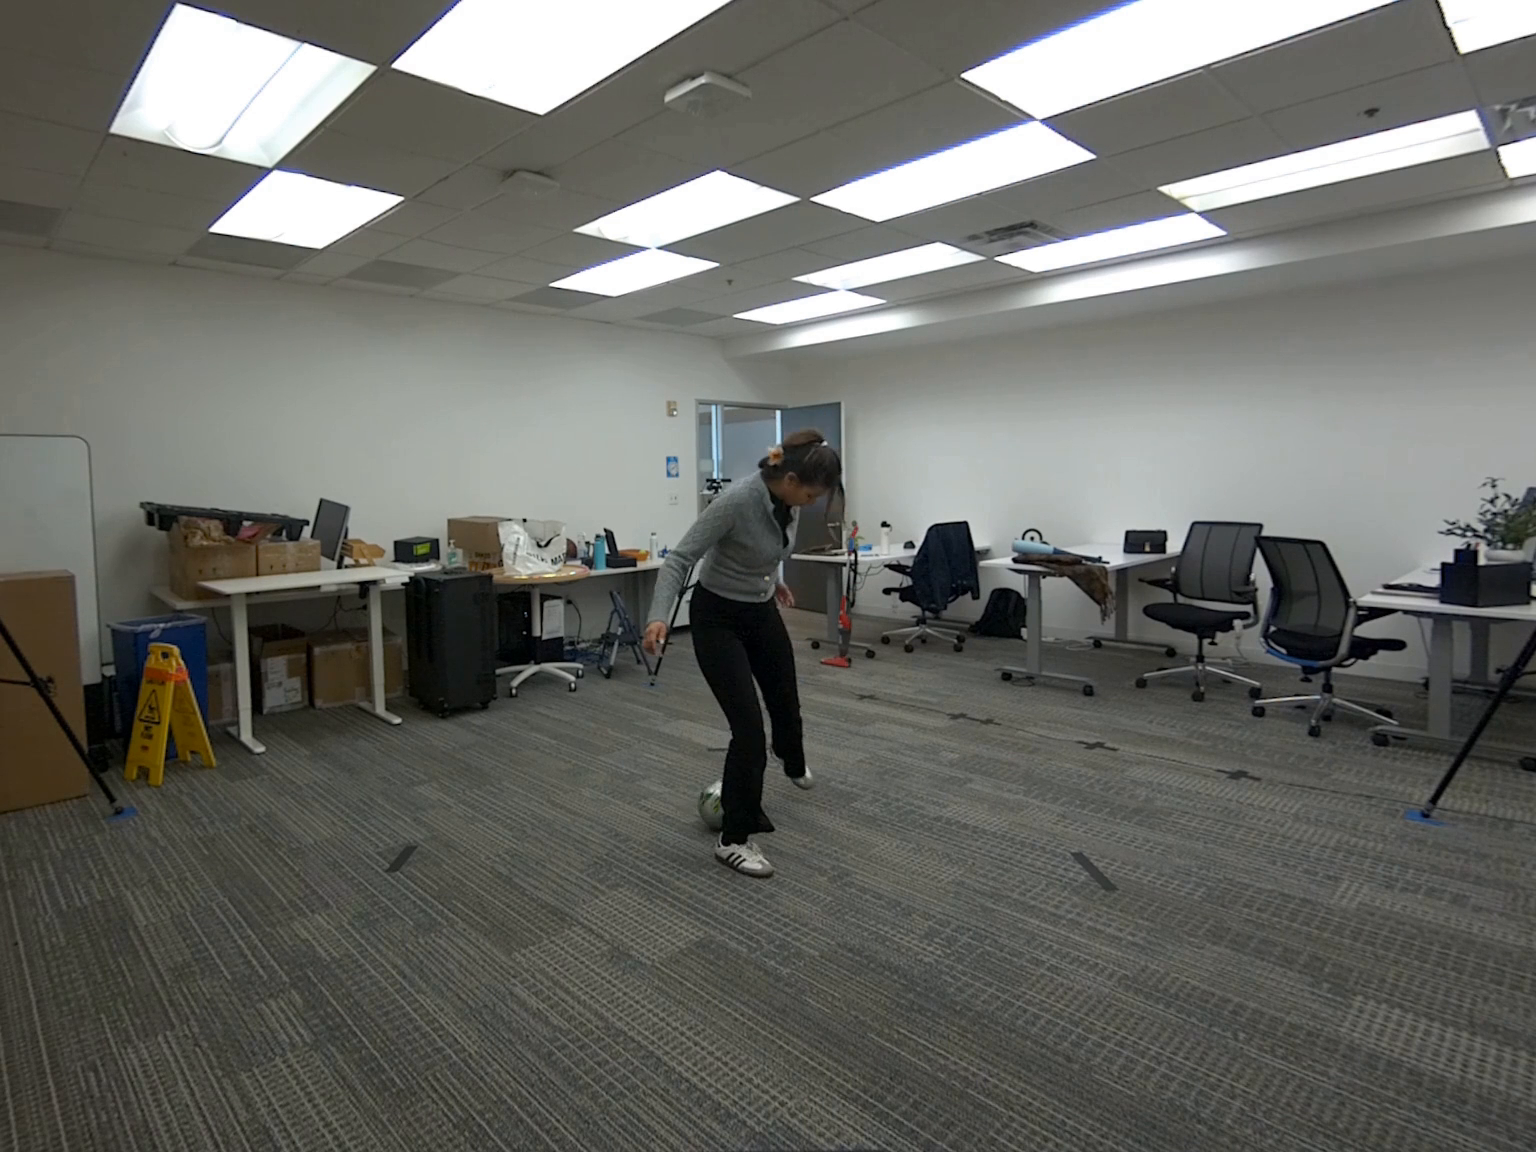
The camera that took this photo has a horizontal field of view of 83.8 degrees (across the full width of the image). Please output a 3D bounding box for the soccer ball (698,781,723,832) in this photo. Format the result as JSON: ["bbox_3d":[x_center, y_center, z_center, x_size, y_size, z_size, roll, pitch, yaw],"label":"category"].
[{"bbox_3d":[-0.187,0.913,3.417,0.187,0.187,0.188,-1,5,-2],"label":"soccer ball"}]
